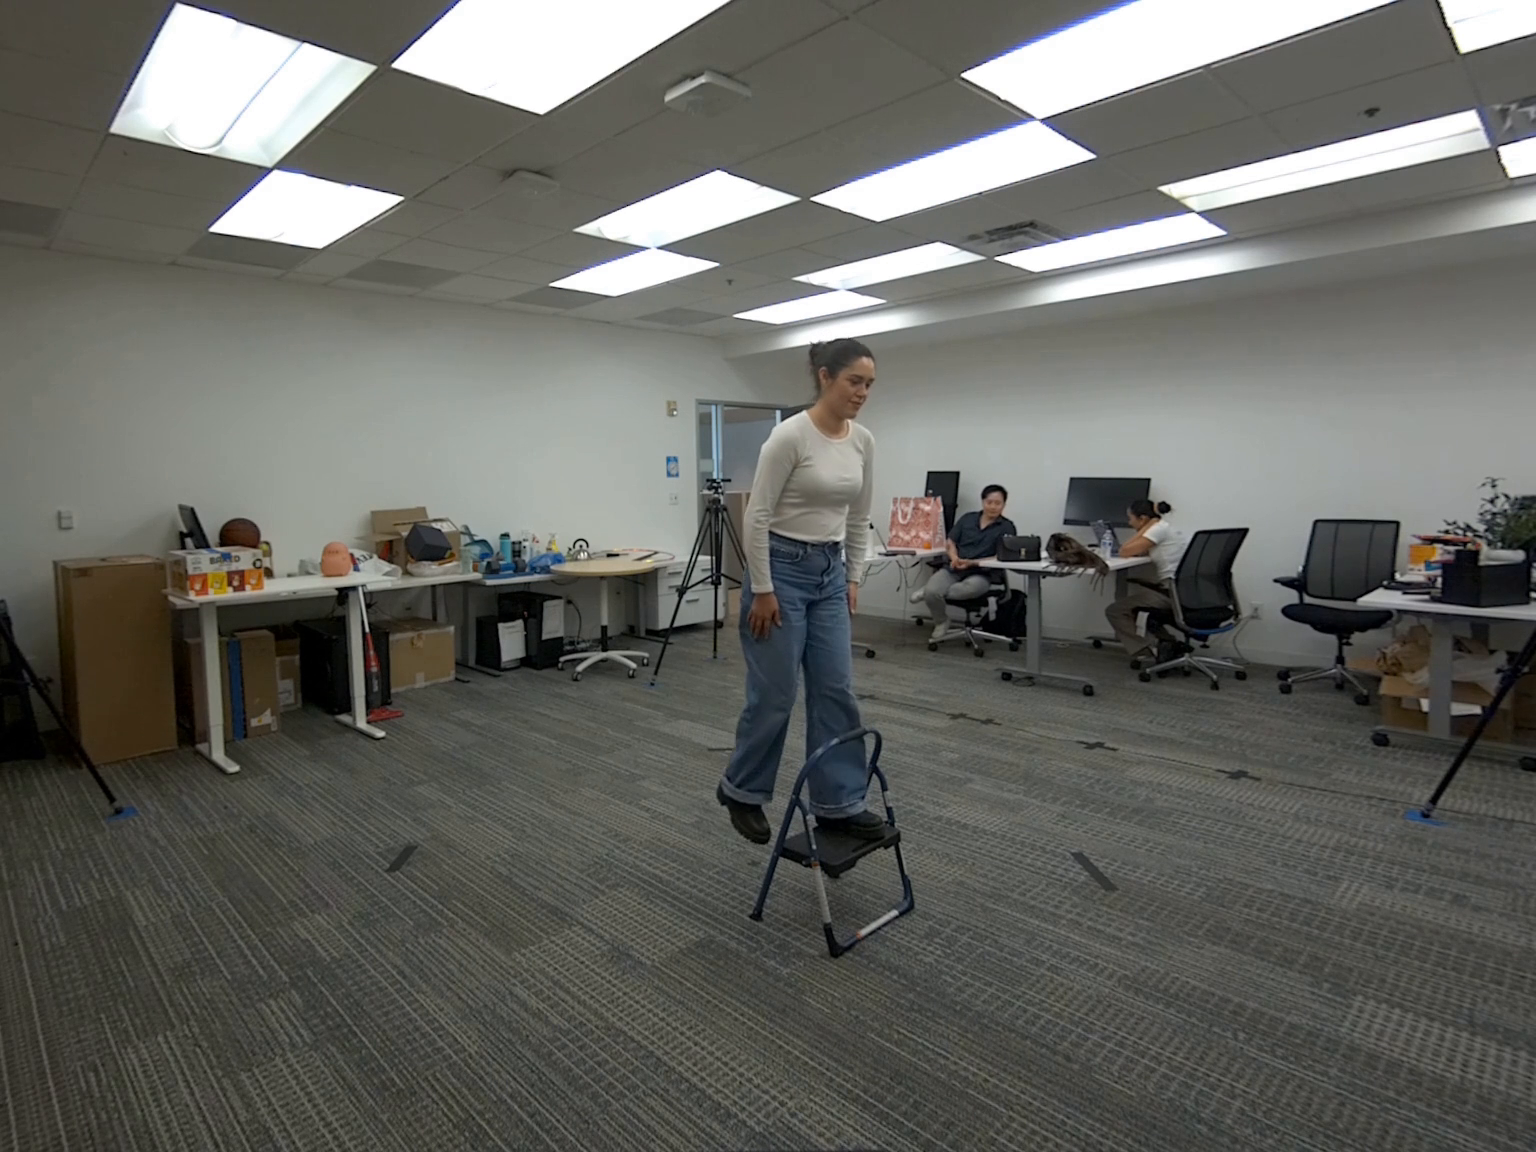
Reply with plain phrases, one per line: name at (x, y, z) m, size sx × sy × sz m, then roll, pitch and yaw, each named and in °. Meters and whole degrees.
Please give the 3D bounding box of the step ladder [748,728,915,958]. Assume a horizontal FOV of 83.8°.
step ladder at (0.205, 0.782, 2.725) m, size 0.360 × 0.604 × 0.419 m, roll 3°, pitch 6°, yaw 44°
